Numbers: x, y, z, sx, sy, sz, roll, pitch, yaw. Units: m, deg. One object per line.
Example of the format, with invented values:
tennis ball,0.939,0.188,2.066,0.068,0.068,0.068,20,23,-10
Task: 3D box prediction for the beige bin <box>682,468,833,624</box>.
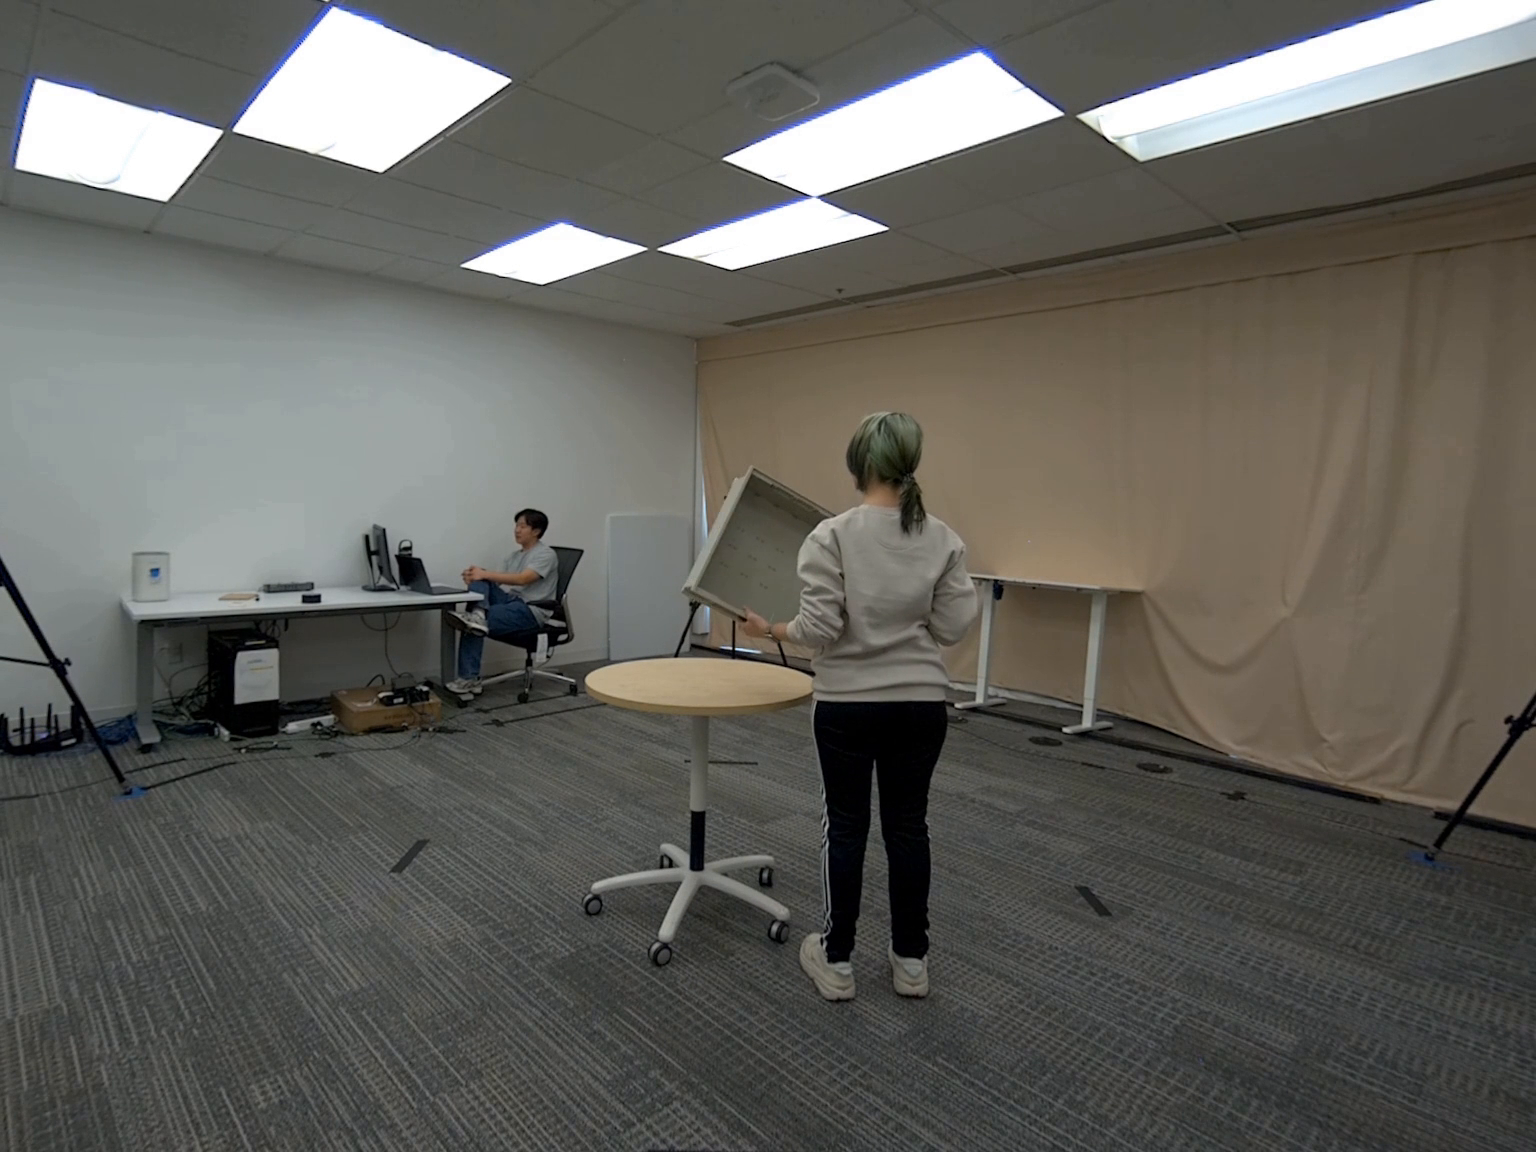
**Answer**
beige bin,-0.011,-0.057,2.628,0.371,0.424,0.191,28,-13,-15
